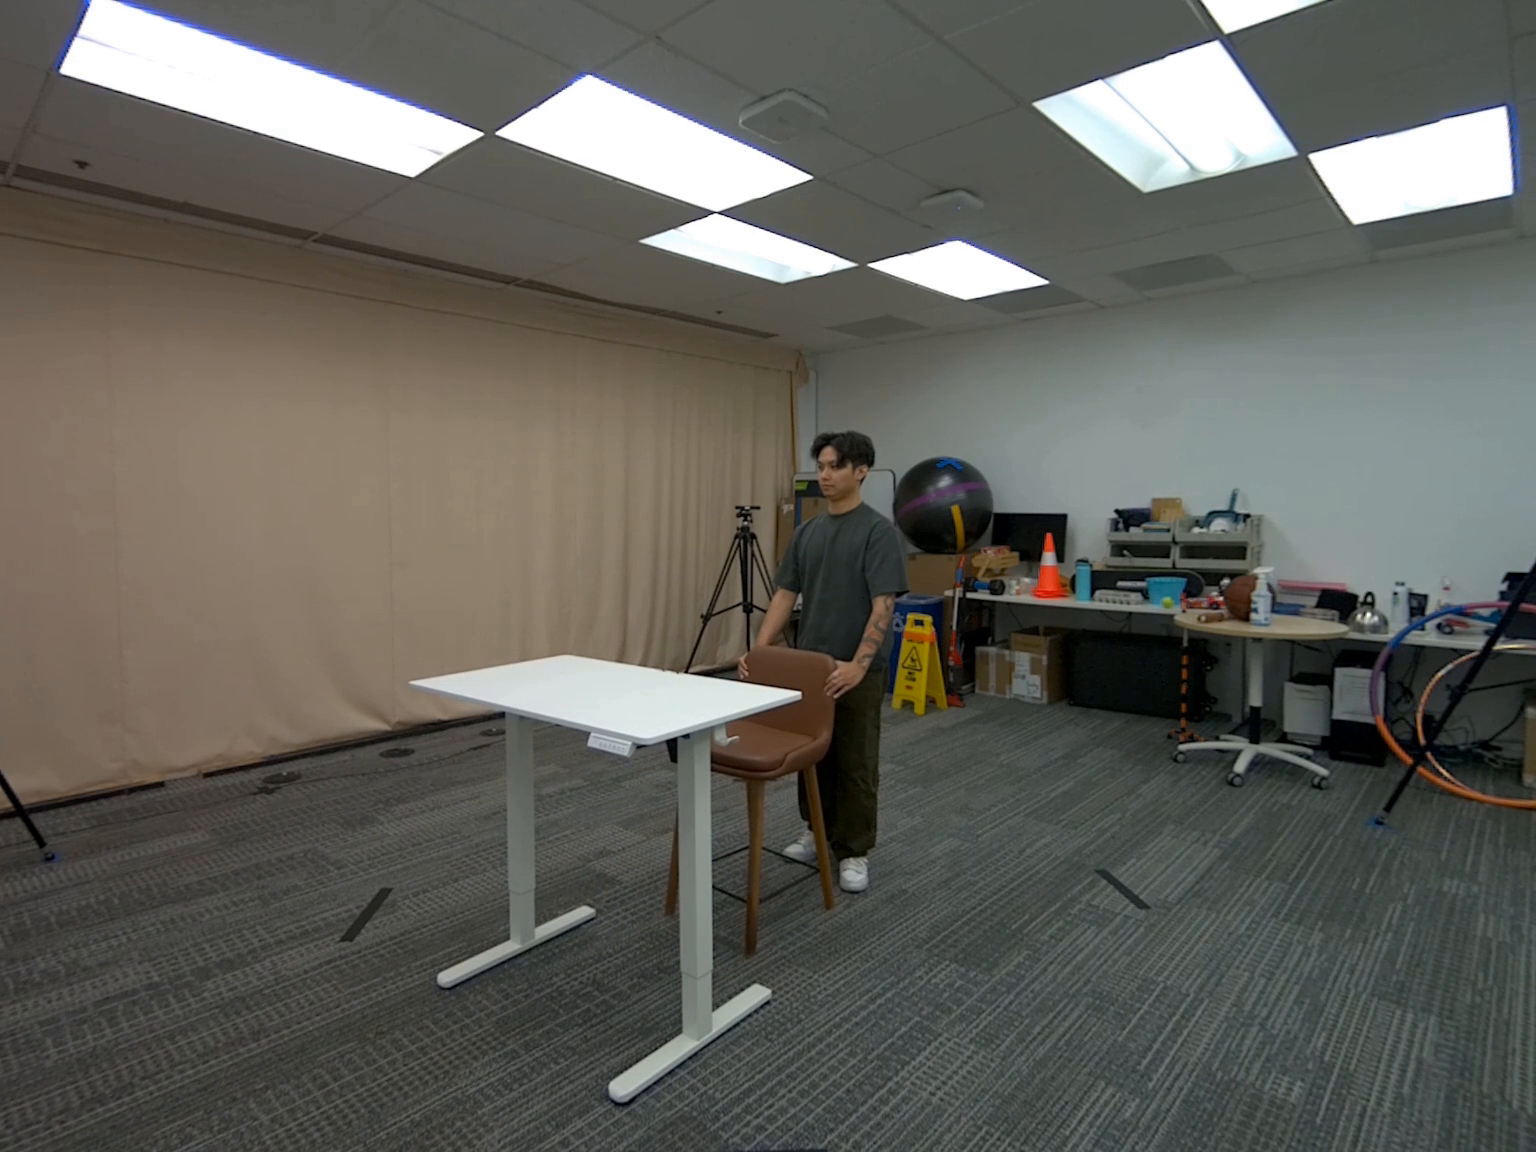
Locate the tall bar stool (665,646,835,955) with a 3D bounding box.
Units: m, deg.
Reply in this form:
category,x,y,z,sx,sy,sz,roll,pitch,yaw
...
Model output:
category,x,y,z,sx,sy,sz,roll,pitch,yaw
tall bar stool,-0.044,0.713,2.876,0.472,0.889,0.453,3,2,44
